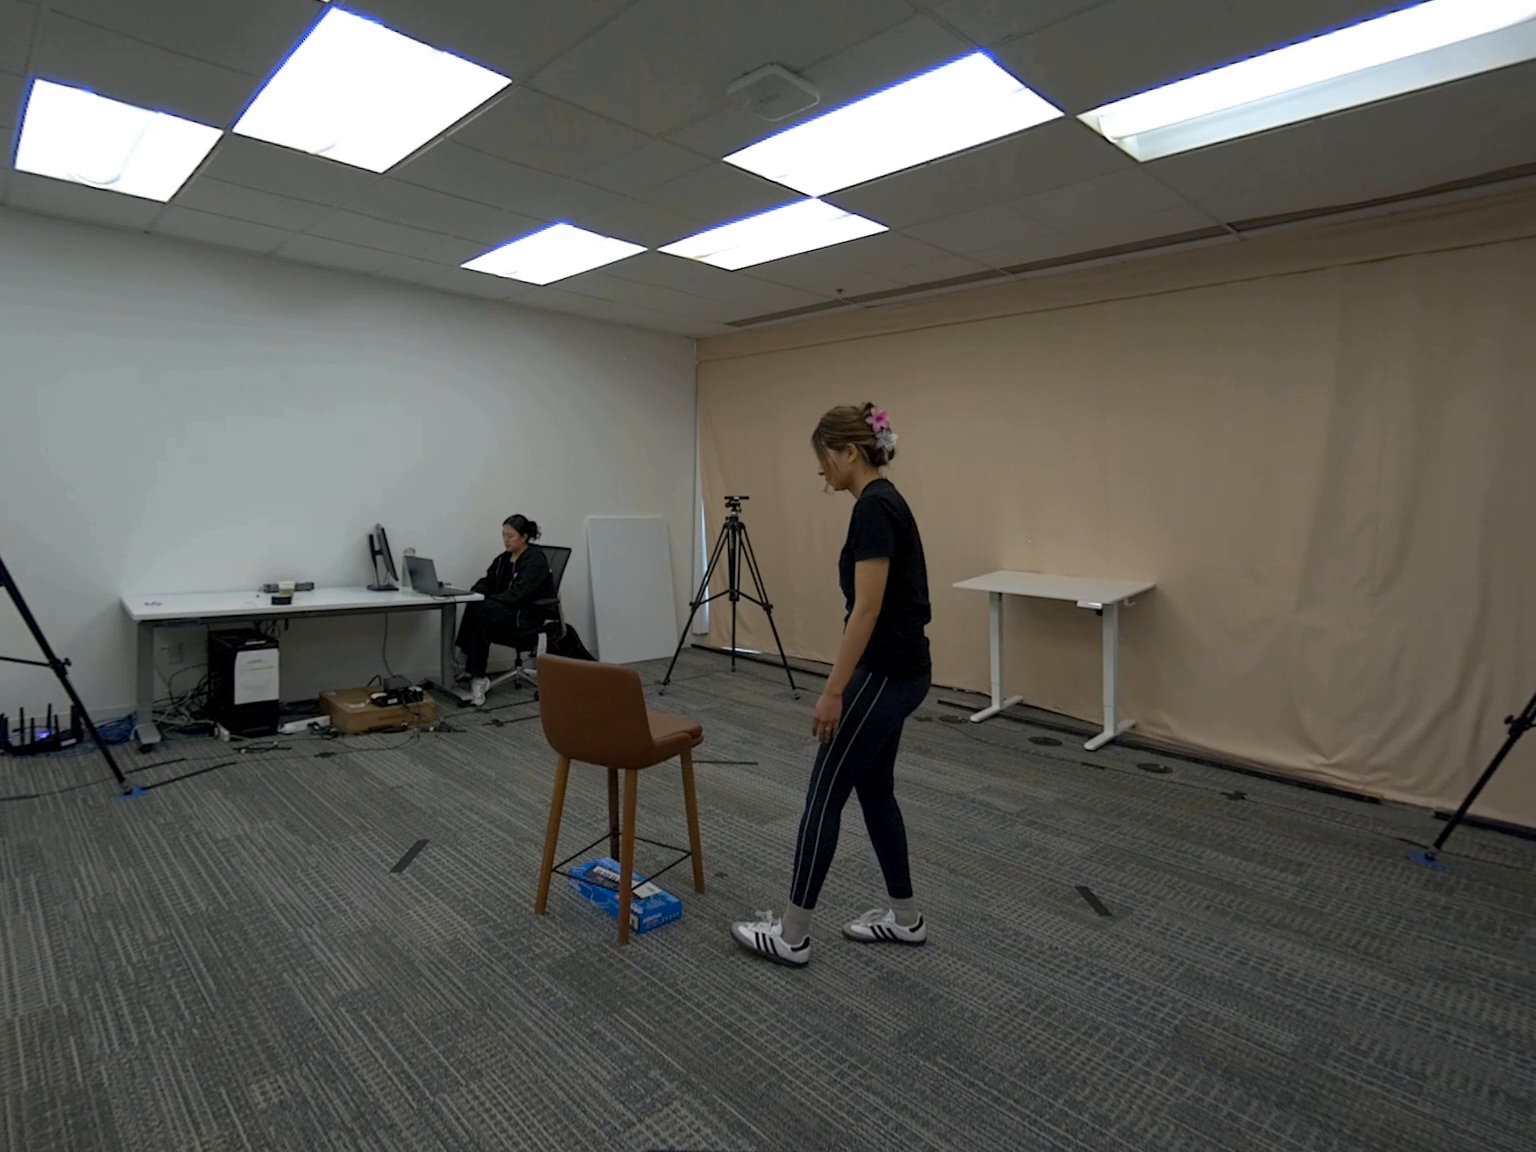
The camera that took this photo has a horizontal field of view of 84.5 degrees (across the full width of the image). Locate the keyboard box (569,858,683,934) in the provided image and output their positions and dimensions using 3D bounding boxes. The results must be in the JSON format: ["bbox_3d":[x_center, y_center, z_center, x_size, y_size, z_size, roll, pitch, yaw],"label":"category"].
[{"bbox_3d":[-0.507,1.093,2.883,0.172,0.059,0.448,-4,8,-43],"label":"keyboard box"}]
